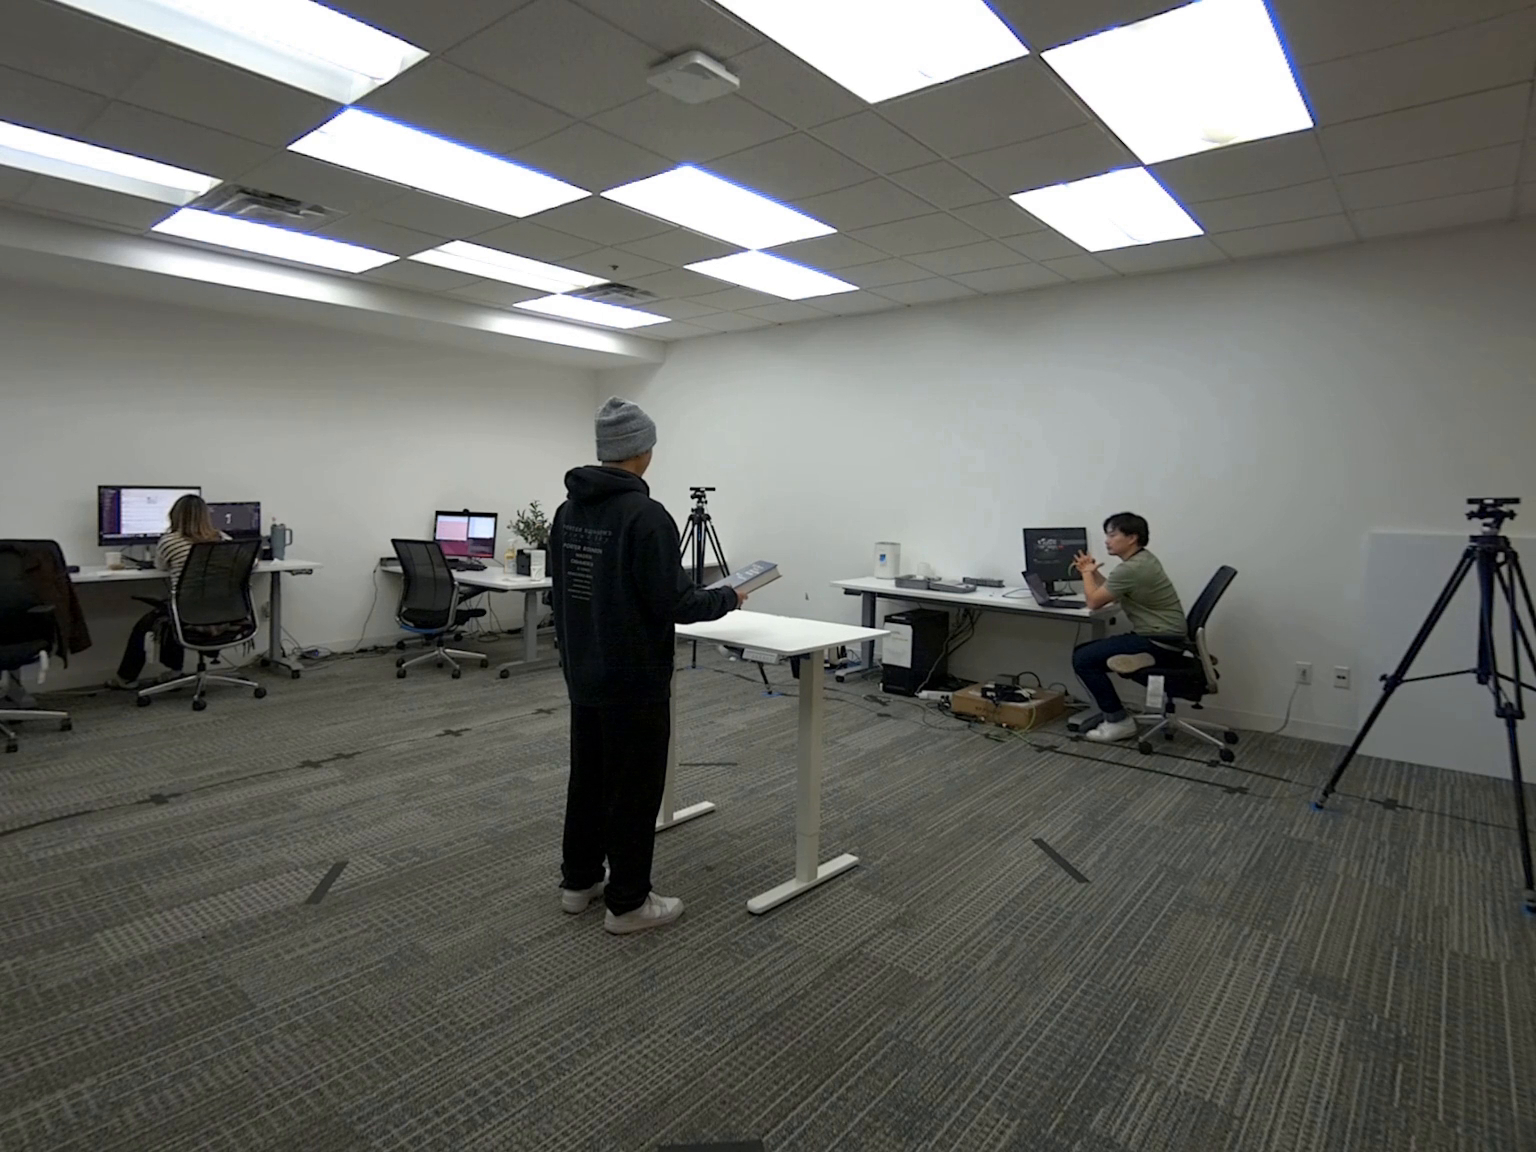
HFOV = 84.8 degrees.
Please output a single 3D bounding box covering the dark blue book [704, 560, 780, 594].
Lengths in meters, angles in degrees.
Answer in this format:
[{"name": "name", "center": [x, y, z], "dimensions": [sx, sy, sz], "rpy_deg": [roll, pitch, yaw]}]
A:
[{"name": "dark blue book", "center": [-0.106, 0.027, 2.879], "dimensions": [0.243, 0.044, 0.168], "rpy_deg": [-28, 18, -19]}]
